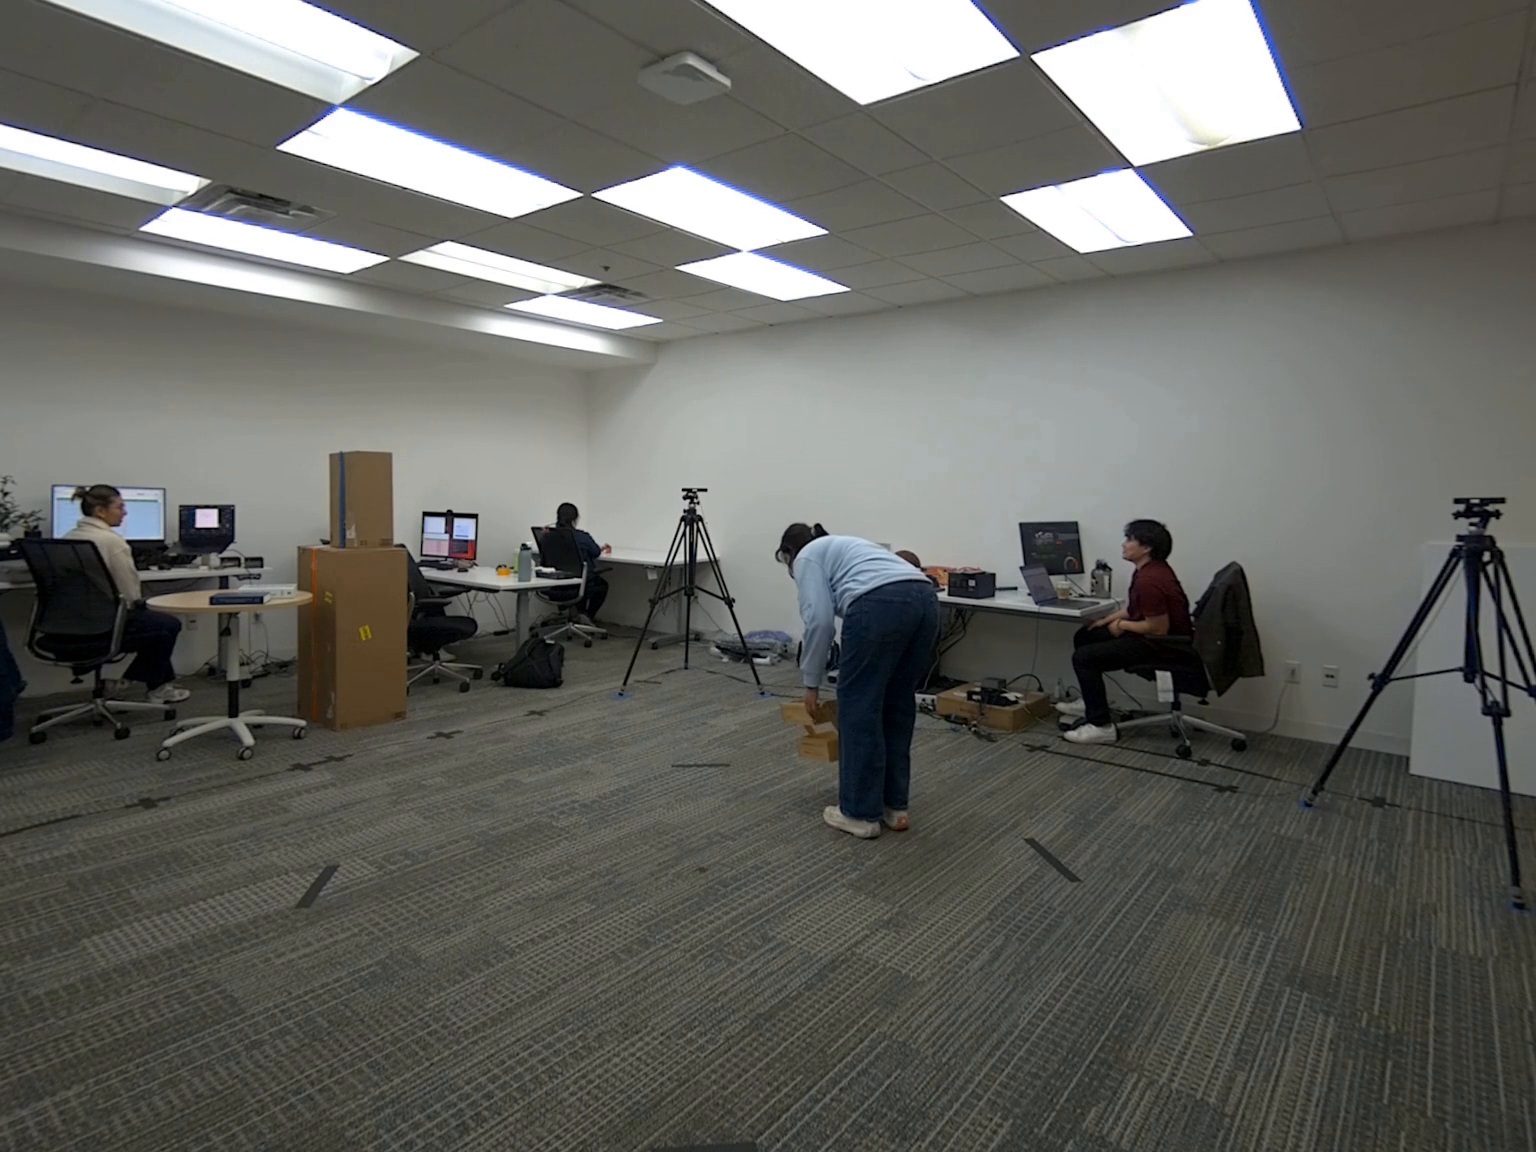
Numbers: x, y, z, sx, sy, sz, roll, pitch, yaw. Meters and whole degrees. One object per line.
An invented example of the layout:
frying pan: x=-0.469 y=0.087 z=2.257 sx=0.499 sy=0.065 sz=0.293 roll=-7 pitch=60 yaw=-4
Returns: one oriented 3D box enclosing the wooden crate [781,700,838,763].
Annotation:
wooden crate: x=0.274 y=0.678 z=3.887 sx=0.295 sy=0.275 sz=0.330 roll=-6 pitch=-5 yaw=-27
